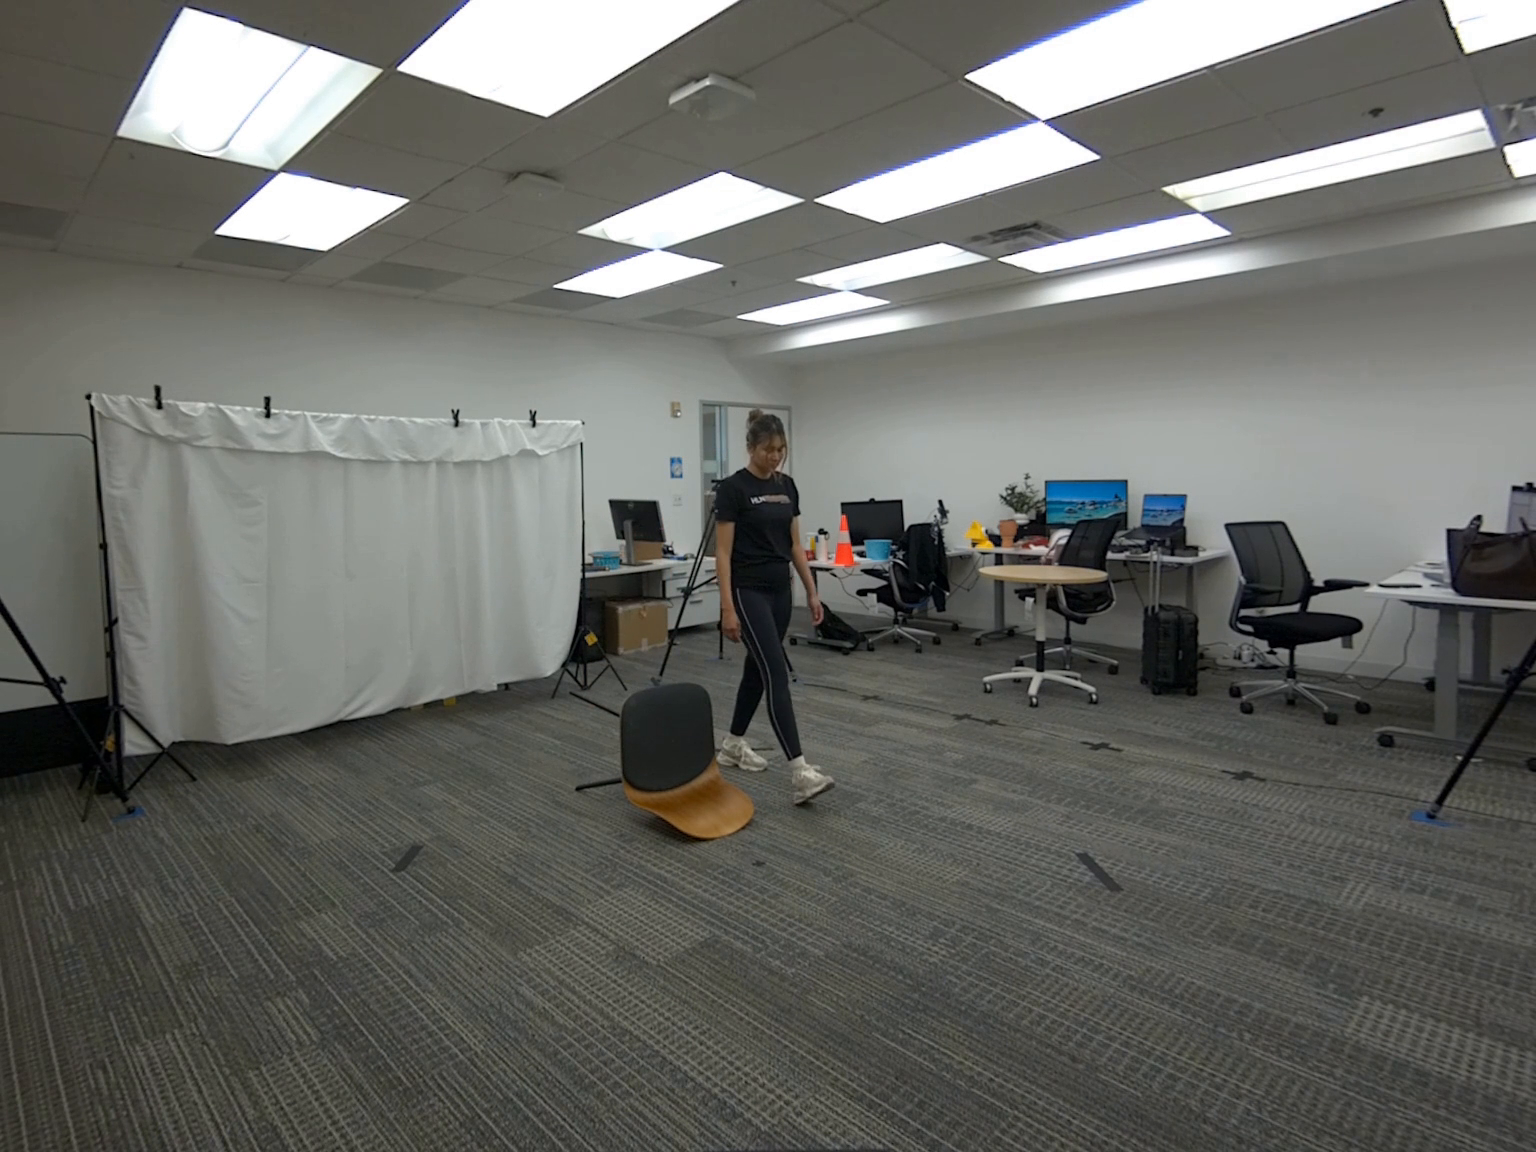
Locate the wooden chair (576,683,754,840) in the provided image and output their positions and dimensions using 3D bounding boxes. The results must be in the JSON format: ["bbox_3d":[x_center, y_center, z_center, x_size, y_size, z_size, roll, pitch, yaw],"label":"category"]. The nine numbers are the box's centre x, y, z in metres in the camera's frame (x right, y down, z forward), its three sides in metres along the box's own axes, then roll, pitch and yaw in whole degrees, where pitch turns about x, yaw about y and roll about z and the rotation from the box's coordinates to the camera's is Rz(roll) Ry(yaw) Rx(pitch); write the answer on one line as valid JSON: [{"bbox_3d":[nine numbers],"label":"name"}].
[{"bbox_3d":[-0.448,0.730,3.676,0.466,0.521,0.904,-4,7,-38],"label":"wooden chair"}]
